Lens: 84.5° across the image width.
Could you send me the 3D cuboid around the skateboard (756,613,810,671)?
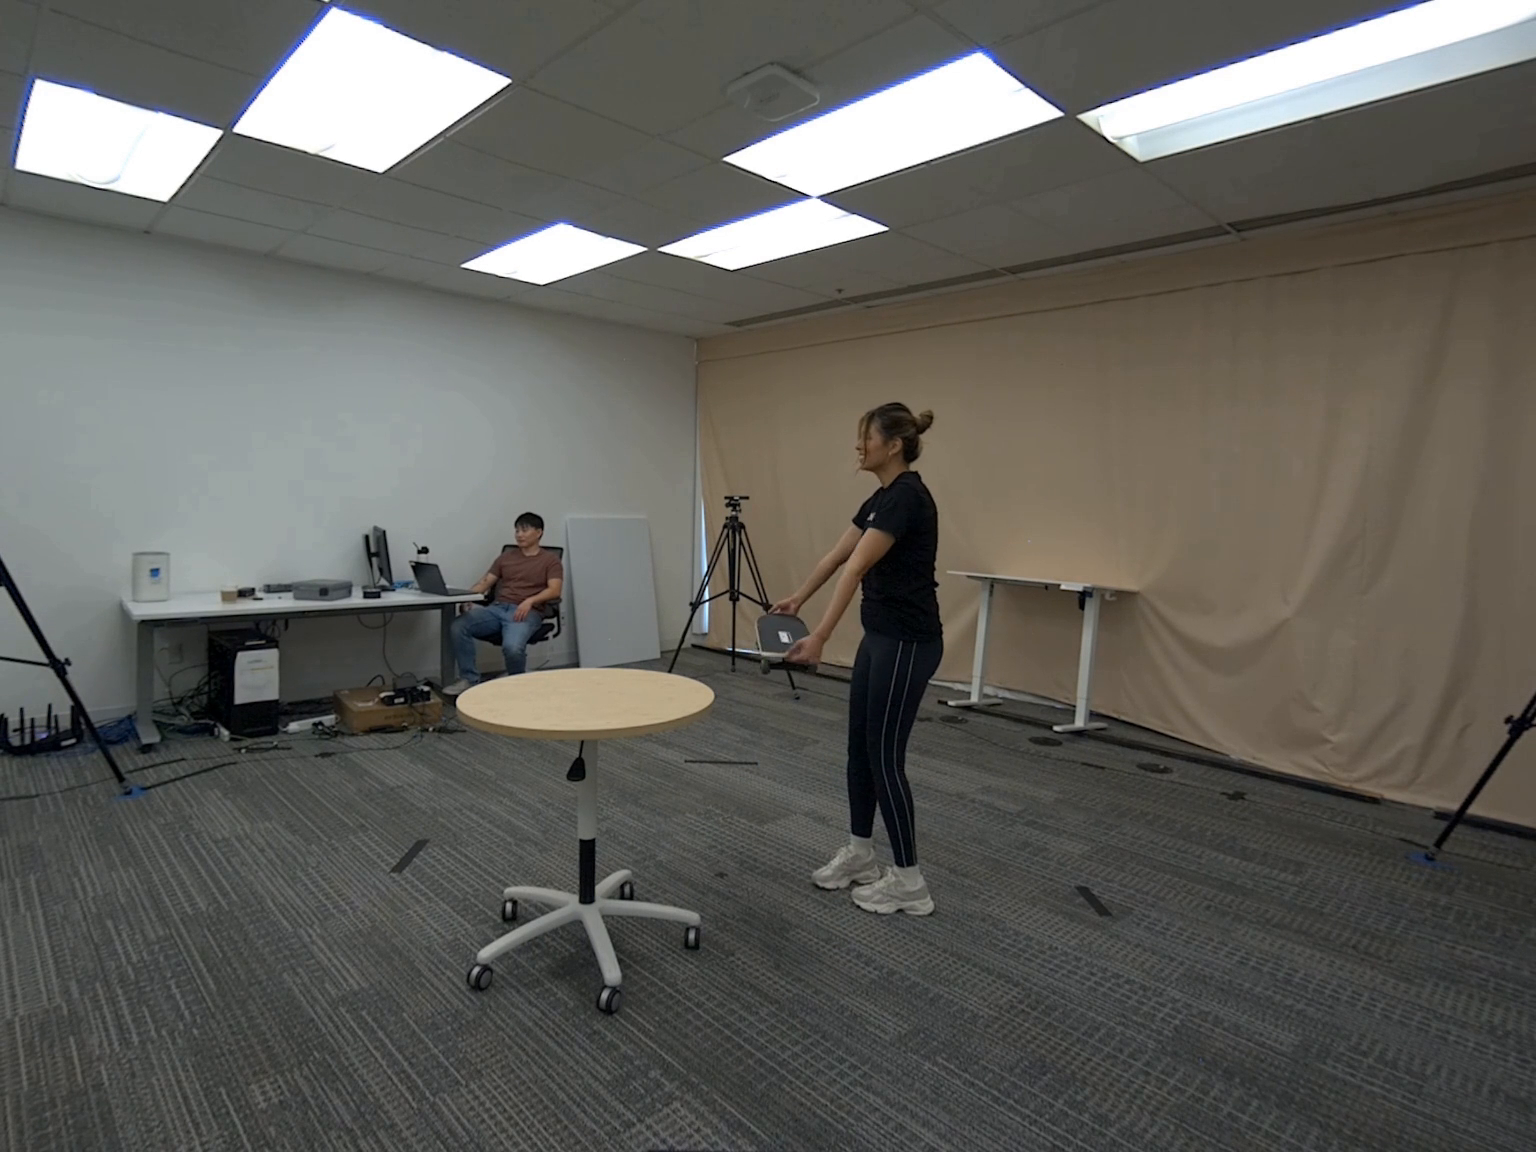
[{"bbox_3d":[0.061,0.251,2.963,0.193,0.110,0.790,-2,6,-3],"label":"skateboard"}]
